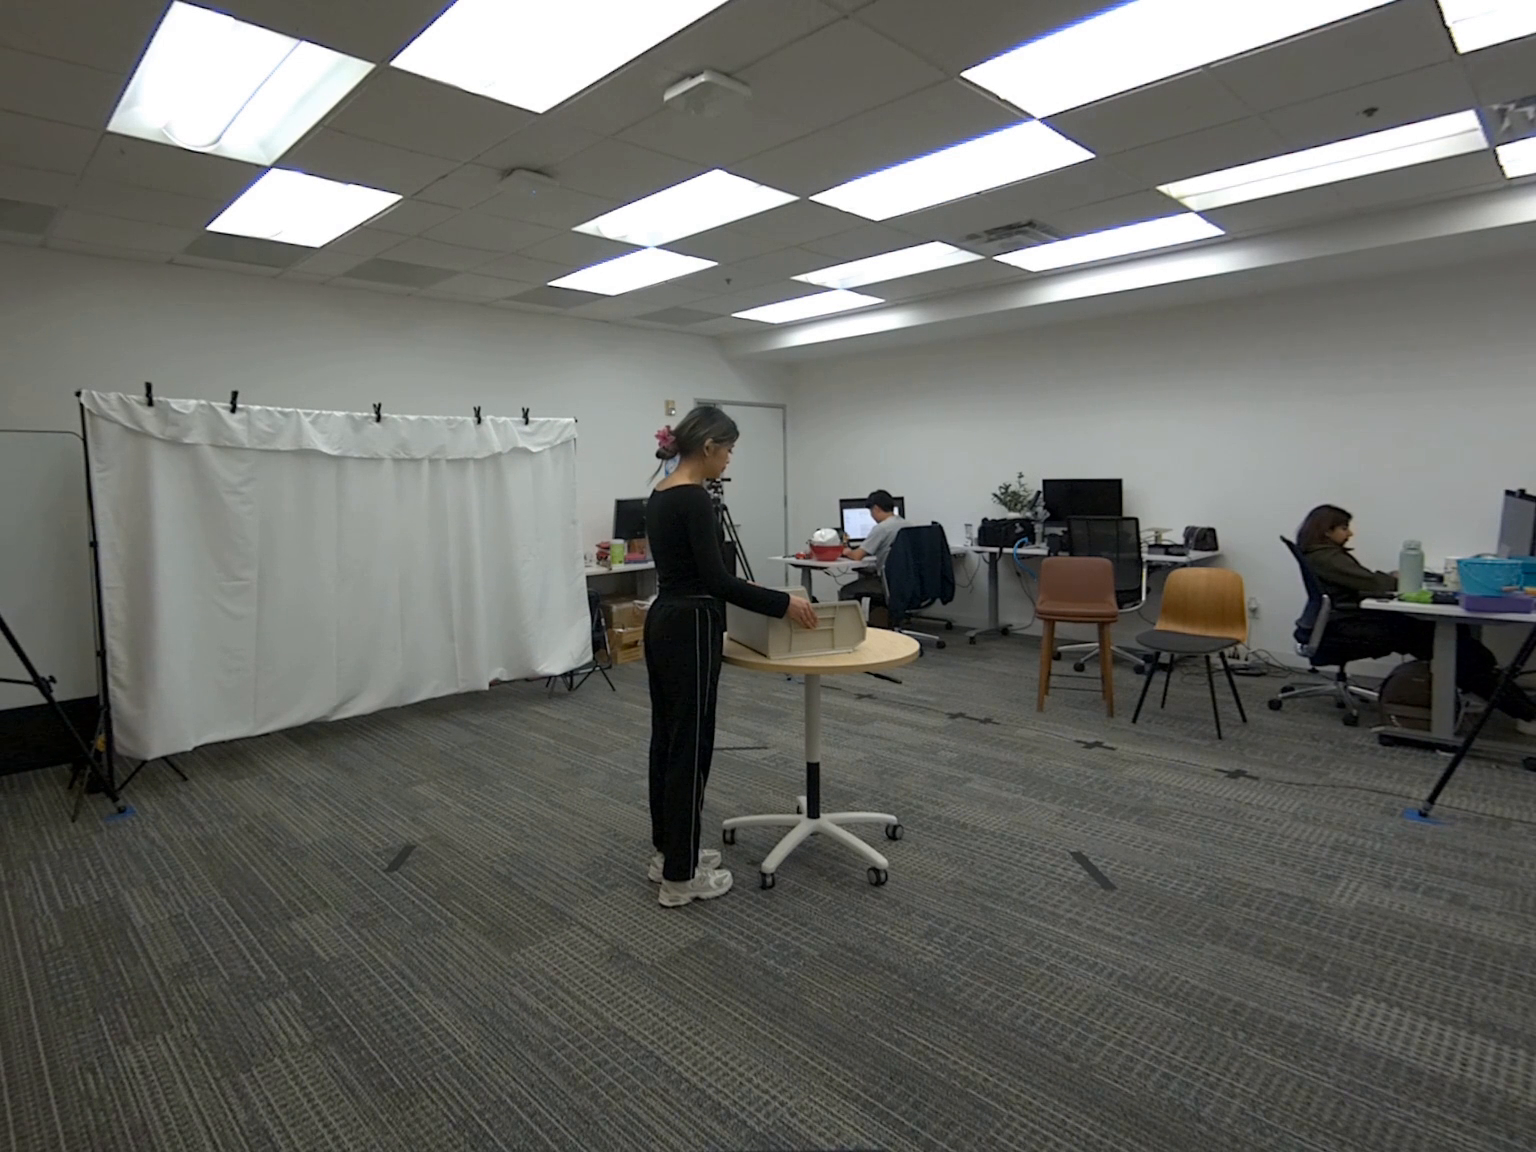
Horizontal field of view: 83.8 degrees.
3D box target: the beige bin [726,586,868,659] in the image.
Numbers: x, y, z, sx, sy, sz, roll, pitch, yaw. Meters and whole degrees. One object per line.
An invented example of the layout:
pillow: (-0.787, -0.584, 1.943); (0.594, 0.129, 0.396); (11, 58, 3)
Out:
beige bin: (0.092, 0.157, 3.078); (0.370, 0.188, 0.433); (-4, 8, -22)
